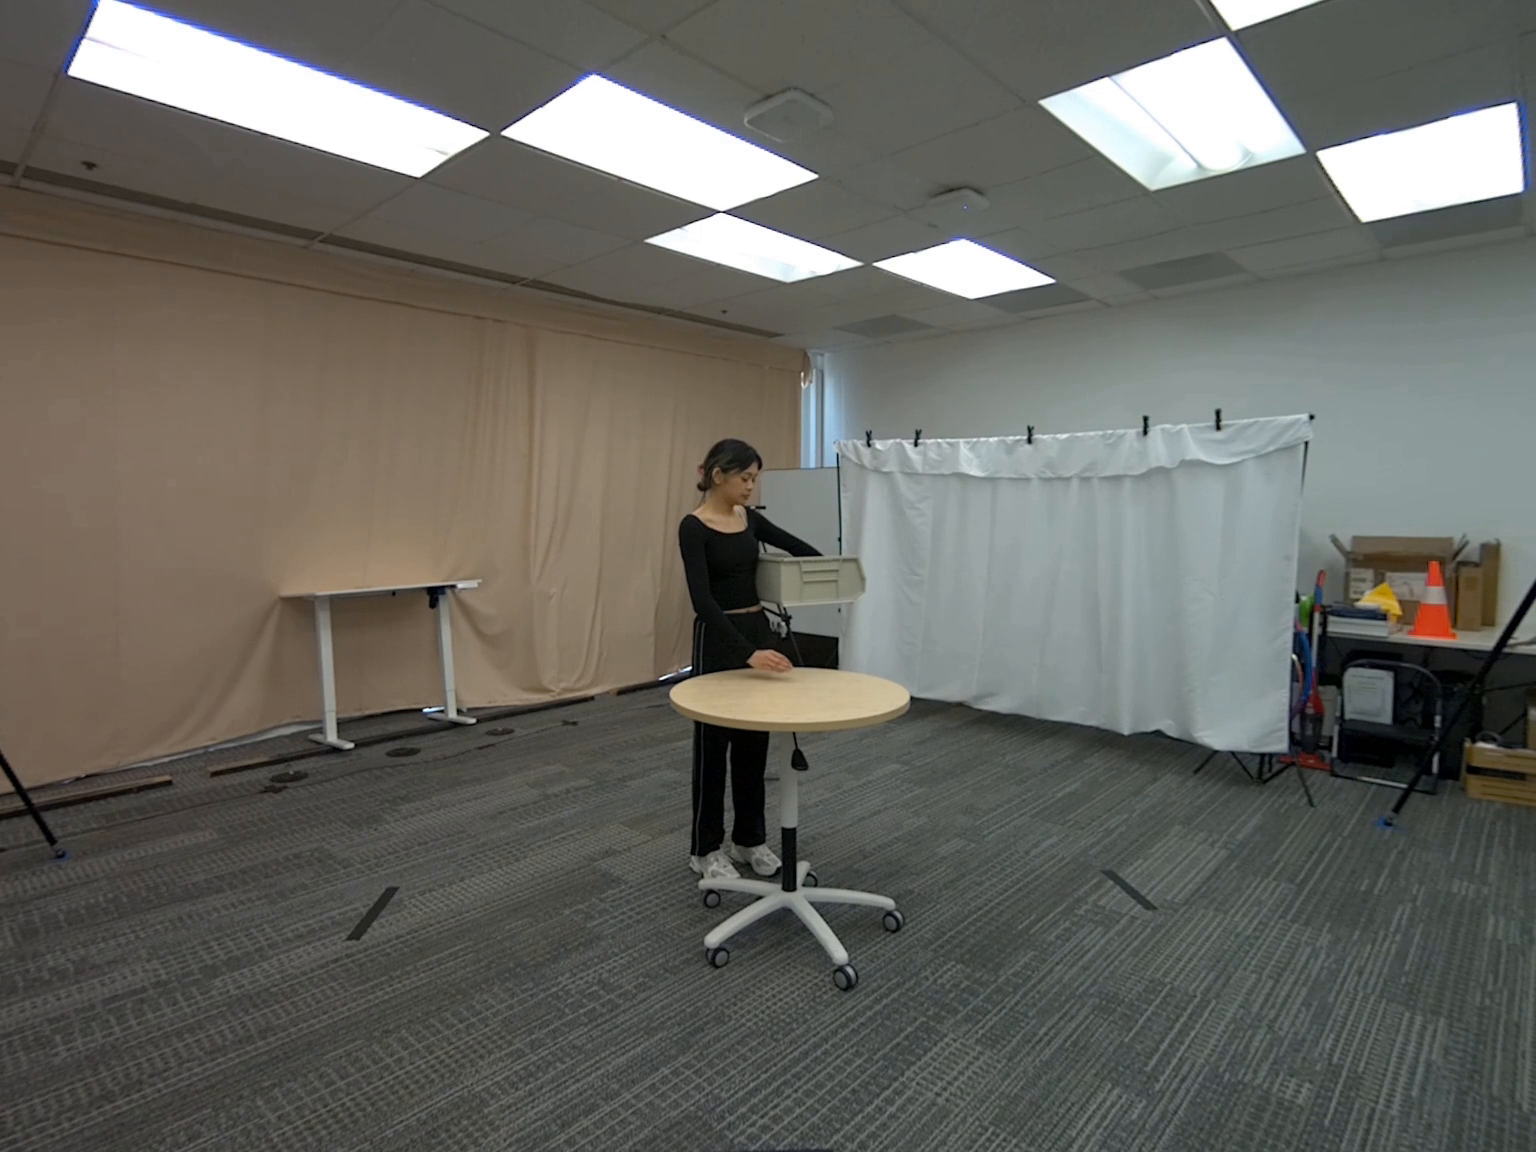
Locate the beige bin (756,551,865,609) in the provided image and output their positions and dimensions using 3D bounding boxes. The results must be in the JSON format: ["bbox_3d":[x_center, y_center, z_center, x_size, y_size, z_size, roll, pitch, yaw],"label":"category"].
[{"bbox_3d":[0.119,0.005,3.312,0.368,0.188,0.434,-3,5,-29],"label":"beige bin"}]
